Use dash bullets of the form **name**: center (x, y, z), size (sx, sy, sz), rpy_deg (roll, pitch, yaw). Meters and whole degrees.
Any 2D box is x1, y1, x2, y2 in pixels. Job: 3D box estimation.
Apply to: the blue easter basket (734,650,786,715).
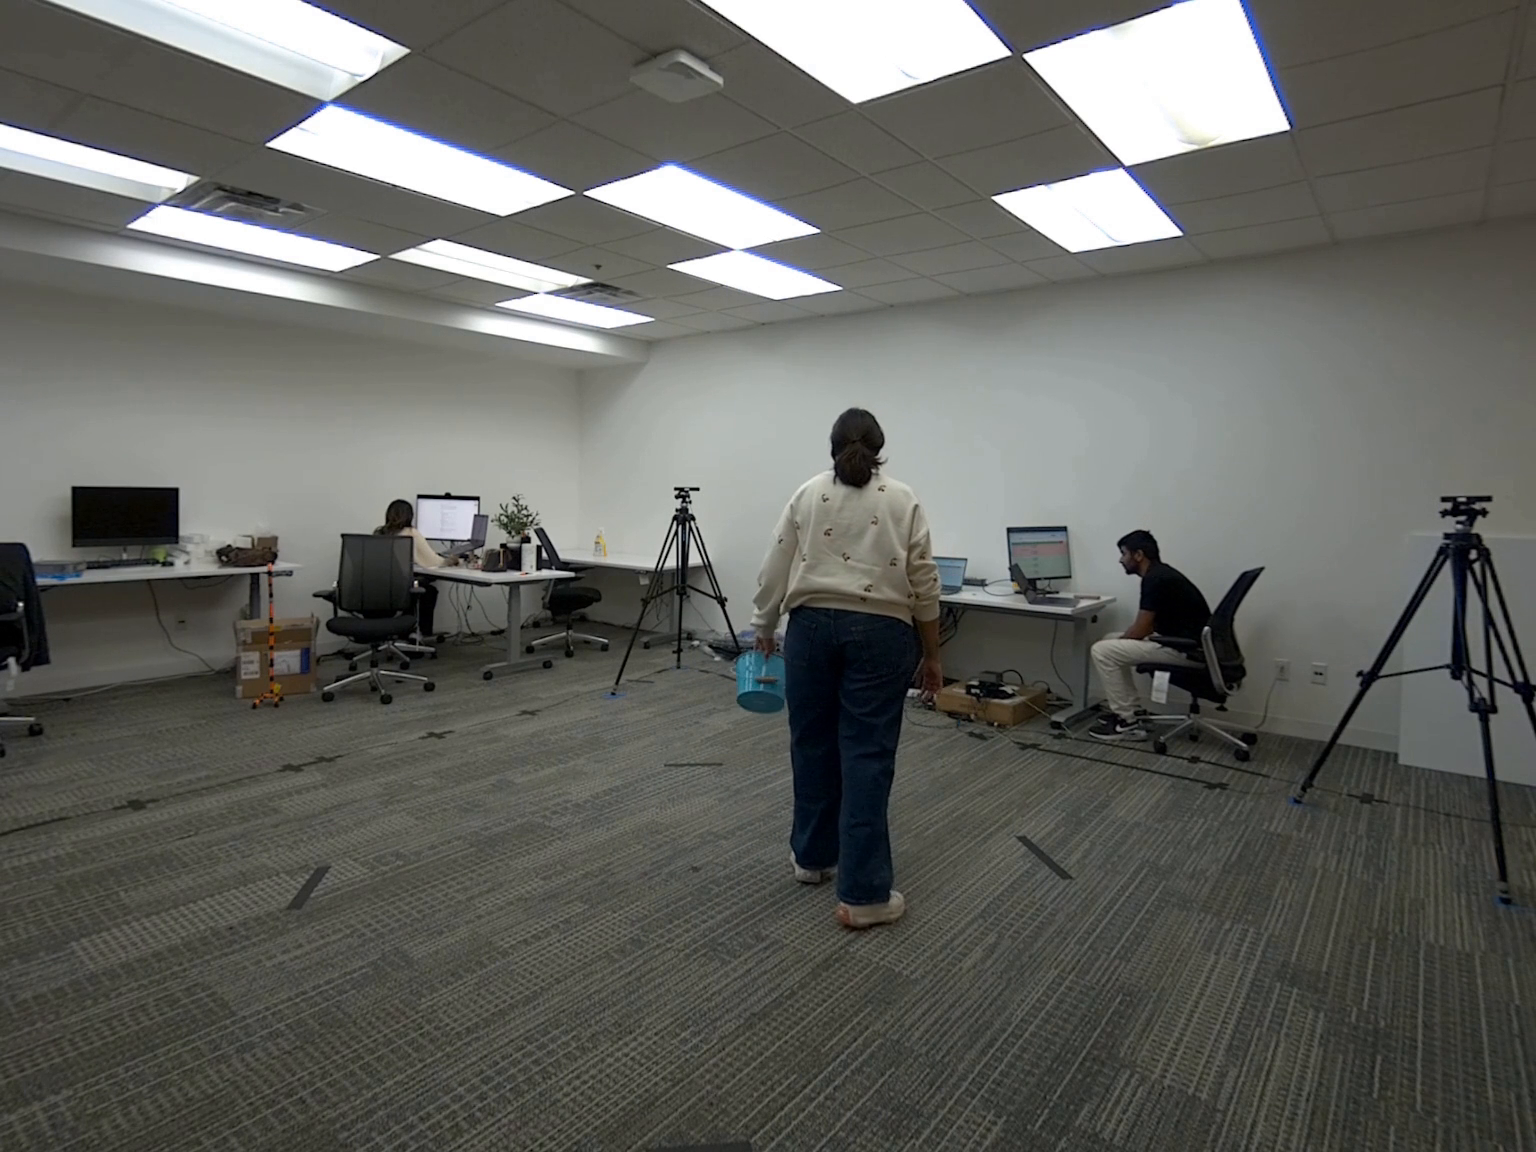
- **blue easter basket**: center (-0.031, 0.394, 3.208), size (0.245, 0.159, 0.237), rpy_deg (8, -37, 4)
